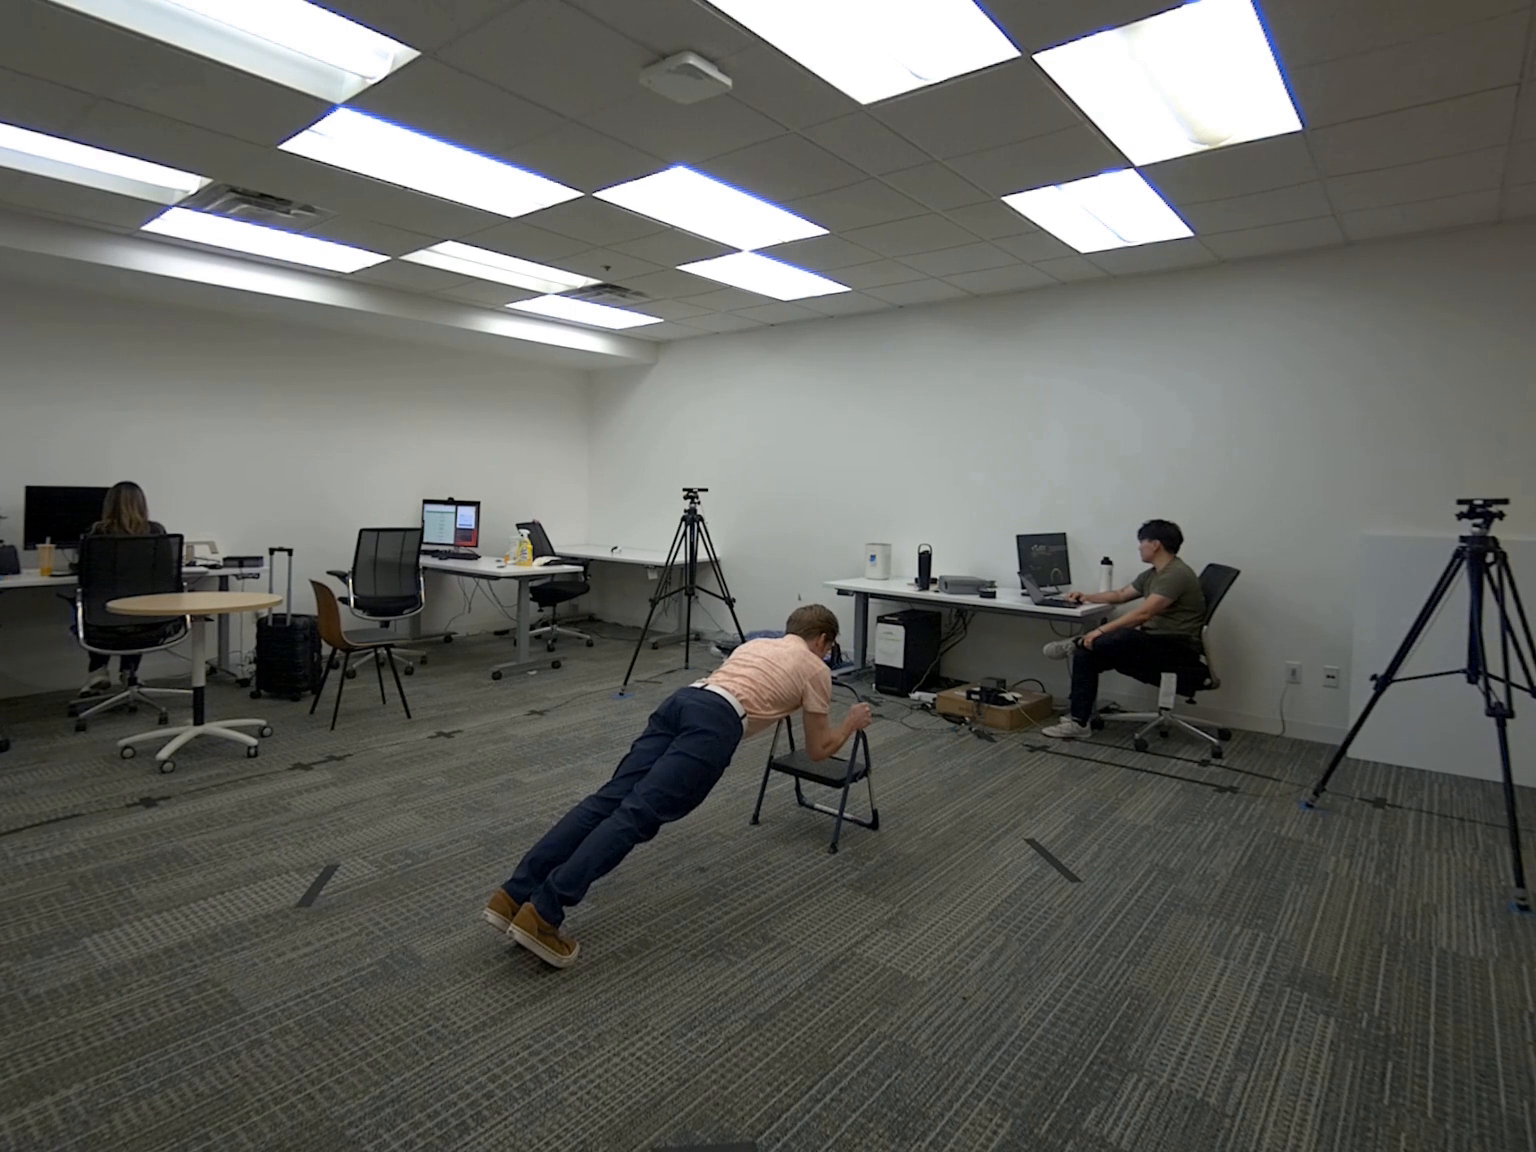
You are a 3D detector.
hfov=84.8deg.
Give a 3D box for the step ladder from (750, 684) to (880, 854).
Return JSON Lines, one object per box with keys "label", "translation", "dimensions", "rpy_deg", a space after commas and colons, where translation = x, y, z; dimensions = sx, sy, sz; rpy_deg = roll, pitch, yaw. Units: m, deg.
{"label": "step ladder", "translation": [0.196, 0.738, 3.524], "dimensions": [0.445, 0.604, 0.339], "rpy_deg": [4, 4, 40]}
